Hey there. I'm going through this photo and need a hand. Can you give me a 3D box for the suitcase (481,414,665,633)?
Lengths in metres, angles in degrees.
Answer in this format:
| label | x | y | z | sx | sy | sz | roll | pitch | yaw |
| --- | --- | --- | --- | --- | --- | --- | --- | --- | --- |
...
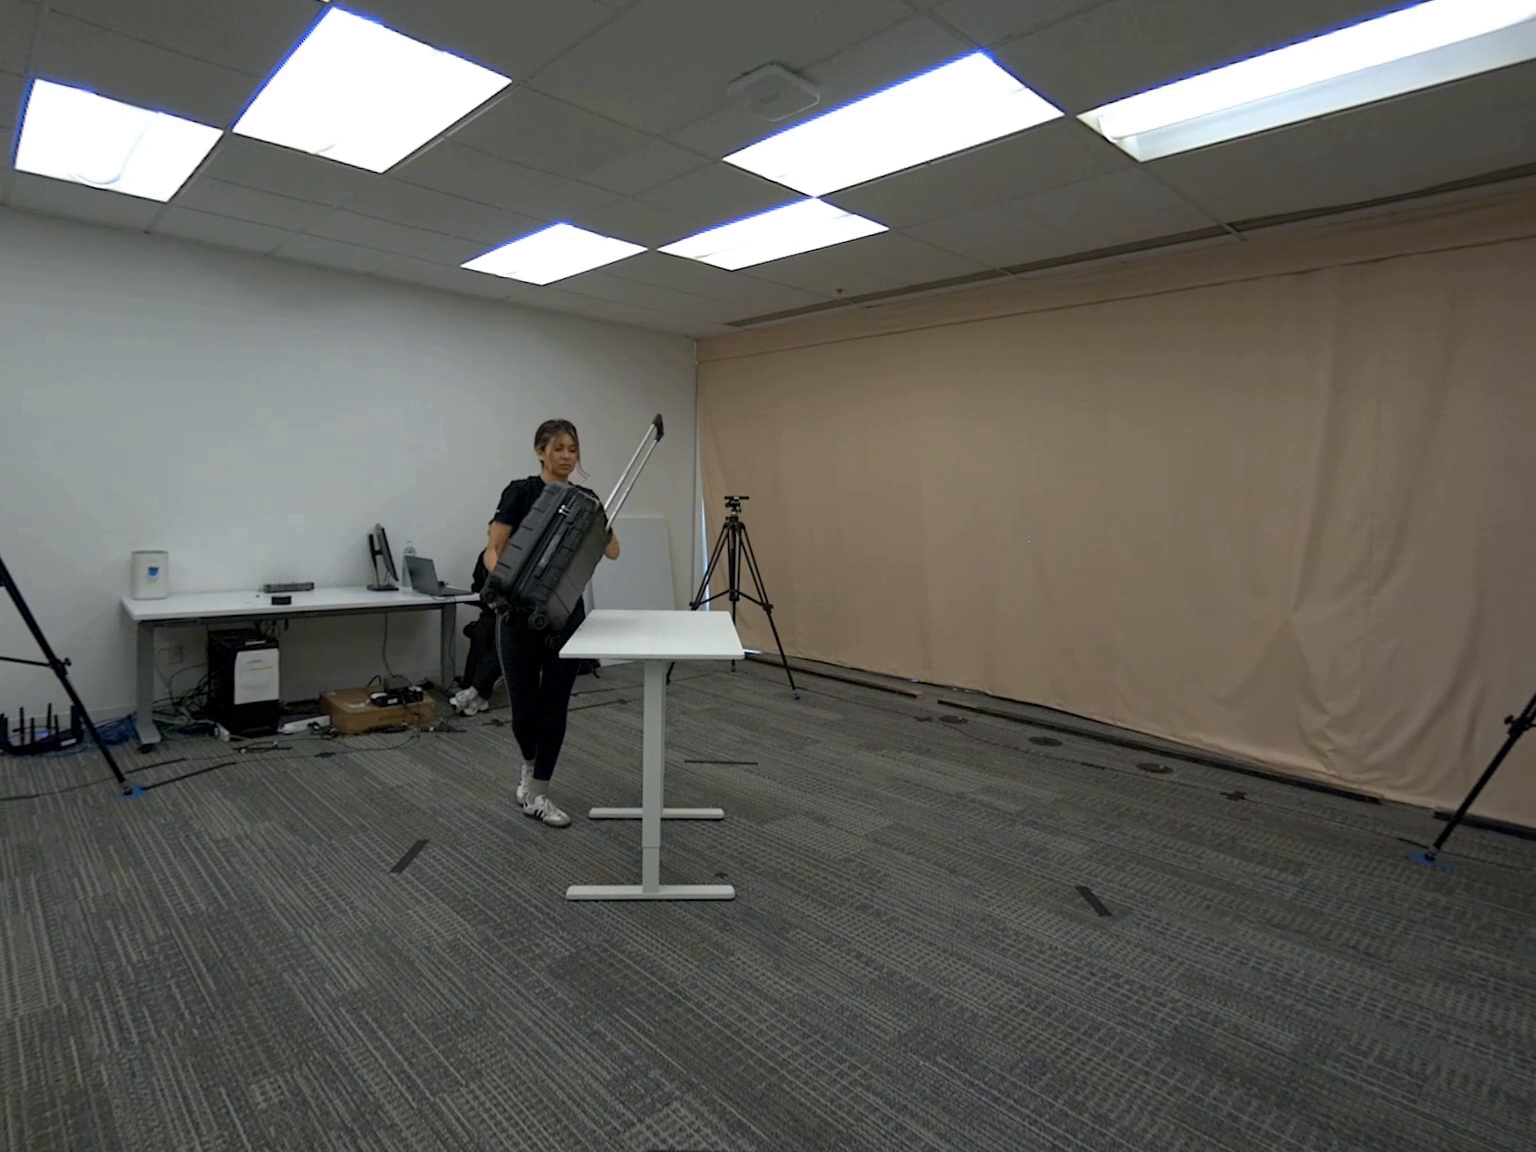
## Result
| label | x | y | z | sx | sy | sz | roll | pitch | yaw |
| --- | --- | --- | --- | --- | --- | --- | --- | --- | --- |
| suitcase | -0.738 | -0.239 | 3.262 | 0.259 | 0.984 | 0.378 | 23 | -18 | 8 |
